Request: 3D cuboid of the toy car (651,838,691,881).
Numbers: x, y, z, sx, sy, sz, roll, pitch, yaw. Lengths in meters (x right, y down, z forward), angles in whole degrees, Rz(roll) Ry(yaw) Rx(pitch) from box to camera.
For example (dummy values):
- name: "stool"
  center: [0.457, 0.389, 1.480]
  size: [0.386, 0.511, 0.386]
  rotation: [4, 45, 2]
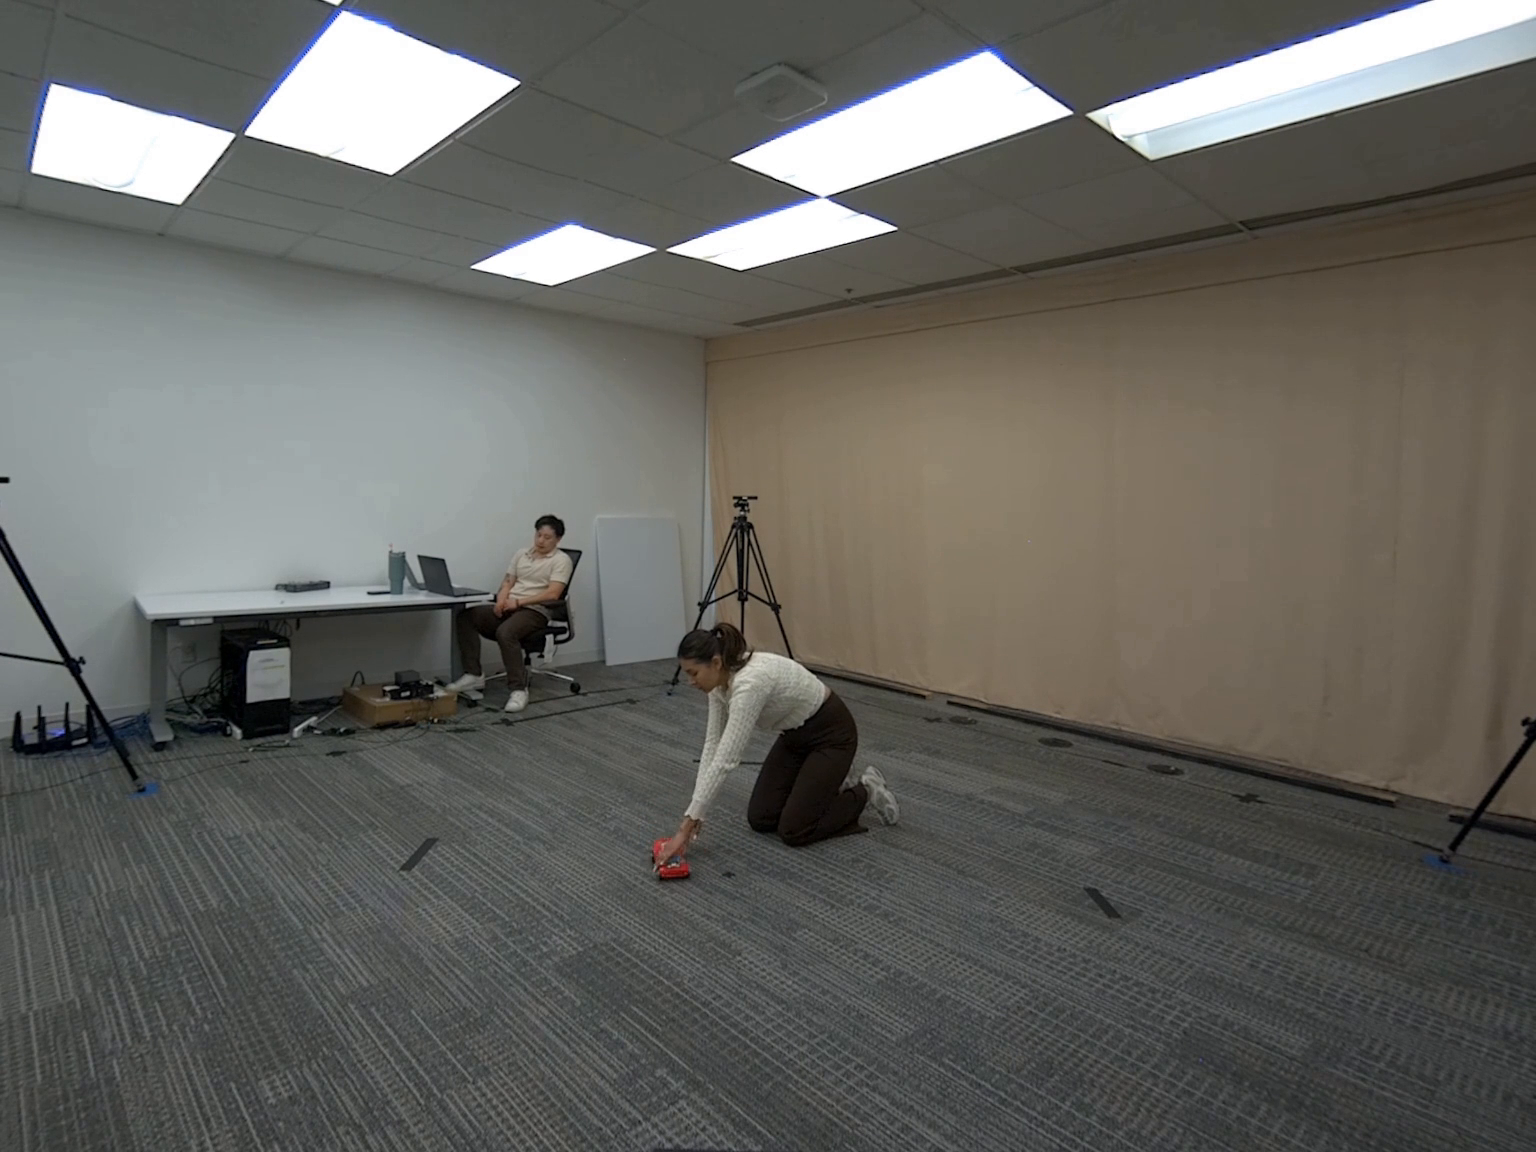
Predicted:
- name: "toy car"
  center: [-0.376, 1.062, 3.159]
  size: [0.129, 0.082, 0.260]
  rotation: [-1, 16, -14]
